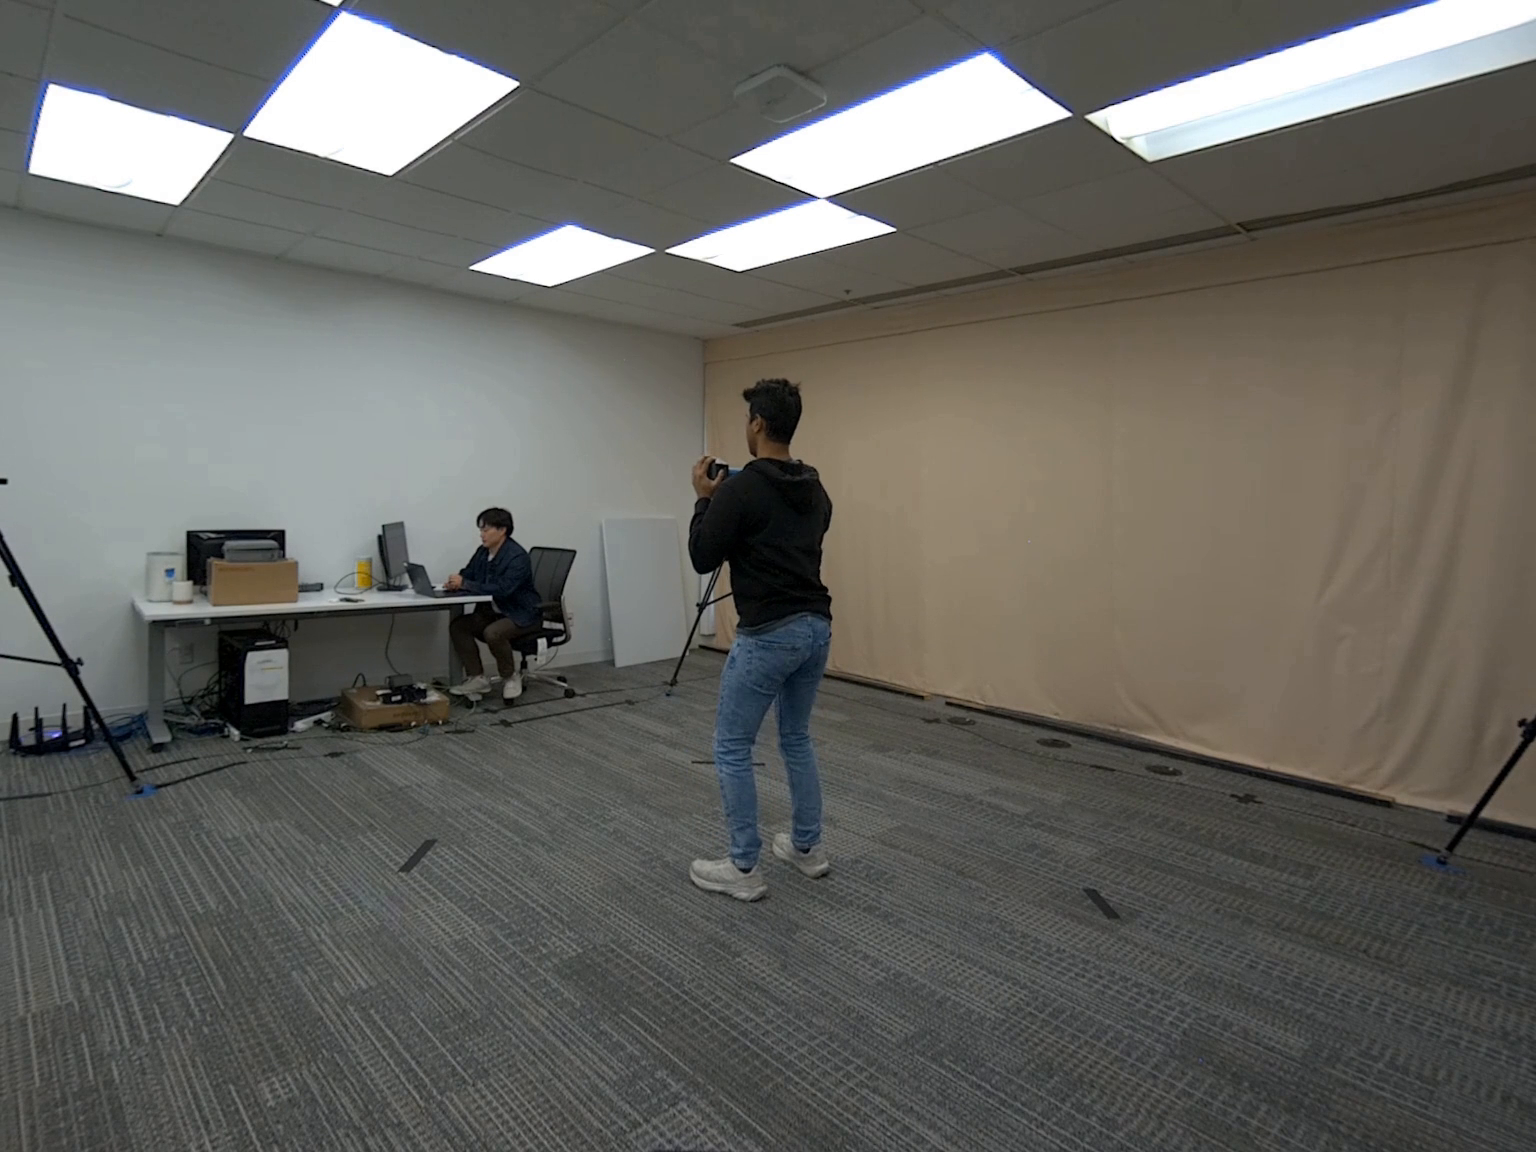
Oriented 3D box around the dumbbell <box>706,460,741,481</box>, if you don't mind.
[{"bbox_3d":[-0.119,-0.364,3.162,0.287,0.123,0.111,0,-3,-40],"label":"dumbbell"}]
